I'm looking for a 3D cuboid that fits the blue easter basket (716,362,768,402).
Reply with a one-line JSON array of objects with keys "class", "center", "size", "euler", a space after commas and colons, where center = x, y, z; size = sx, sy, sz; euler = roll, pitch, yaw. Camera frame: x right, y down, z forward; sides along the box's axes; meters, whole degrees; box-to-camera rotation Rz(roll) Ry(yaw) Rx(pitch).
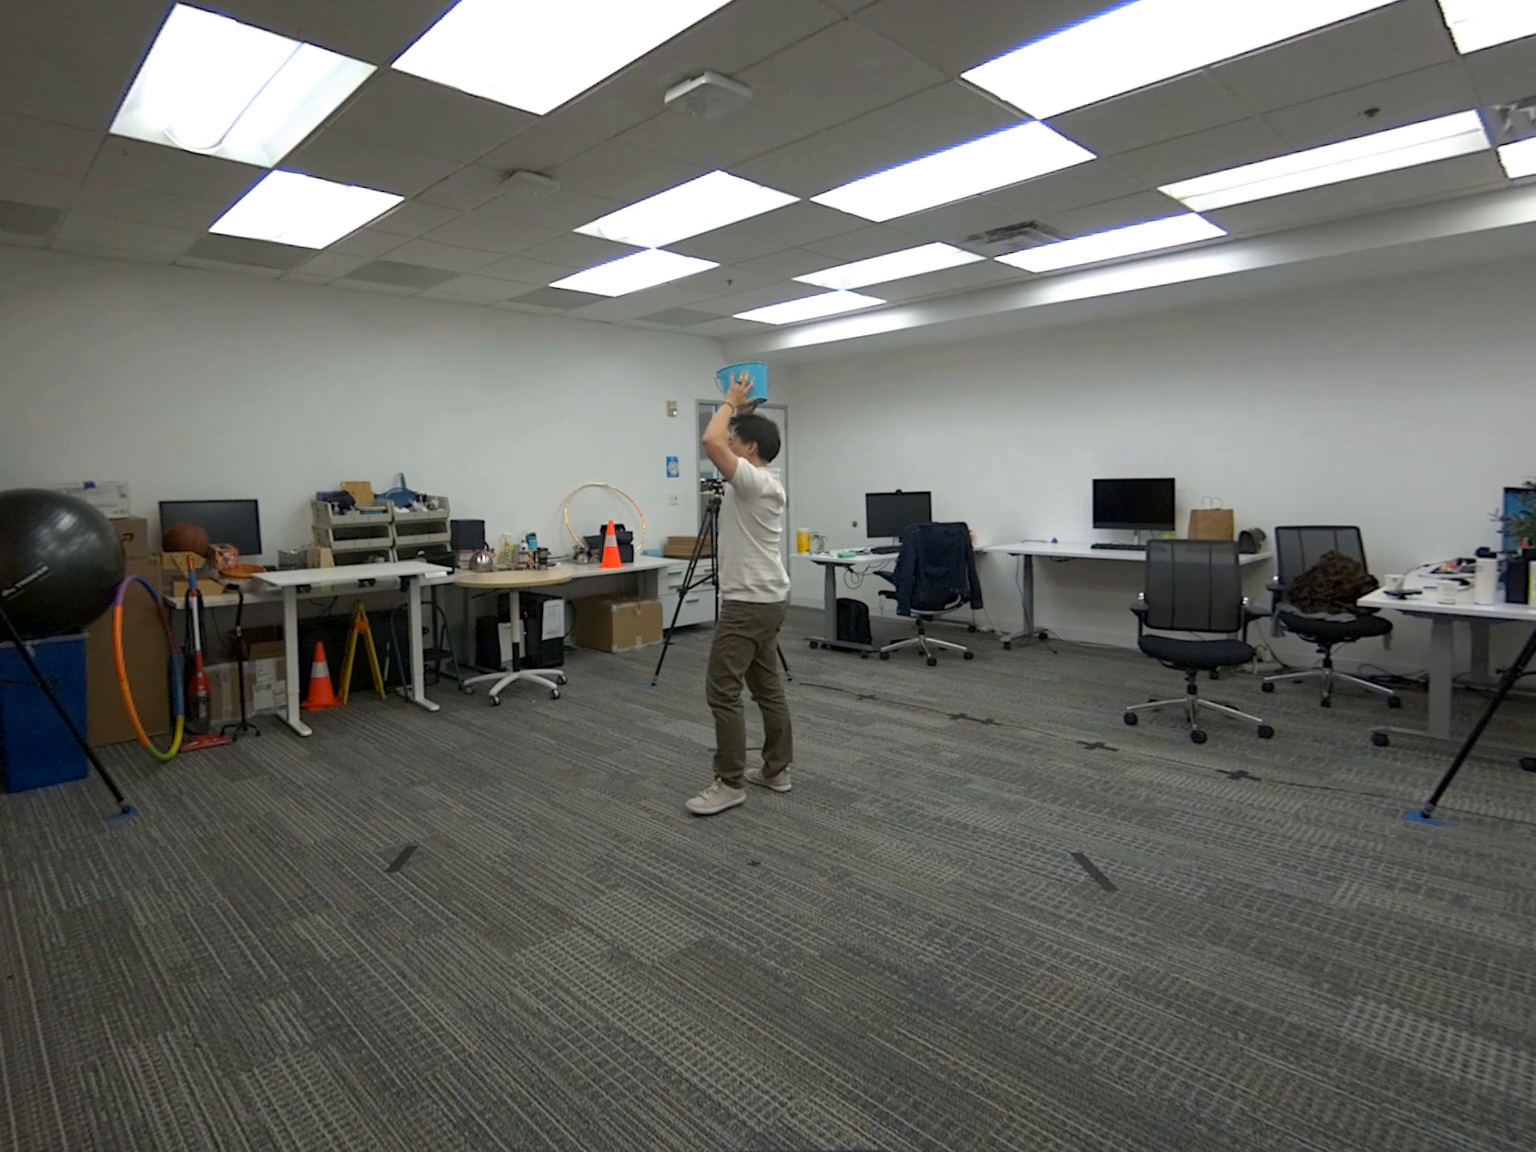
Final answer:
[{"class": "blue easter basket", "center": [-0.098, -0.840, 3.774], "size": [0.243, 0.156, 0.243], "euler": [-9, -1, -2]}]
